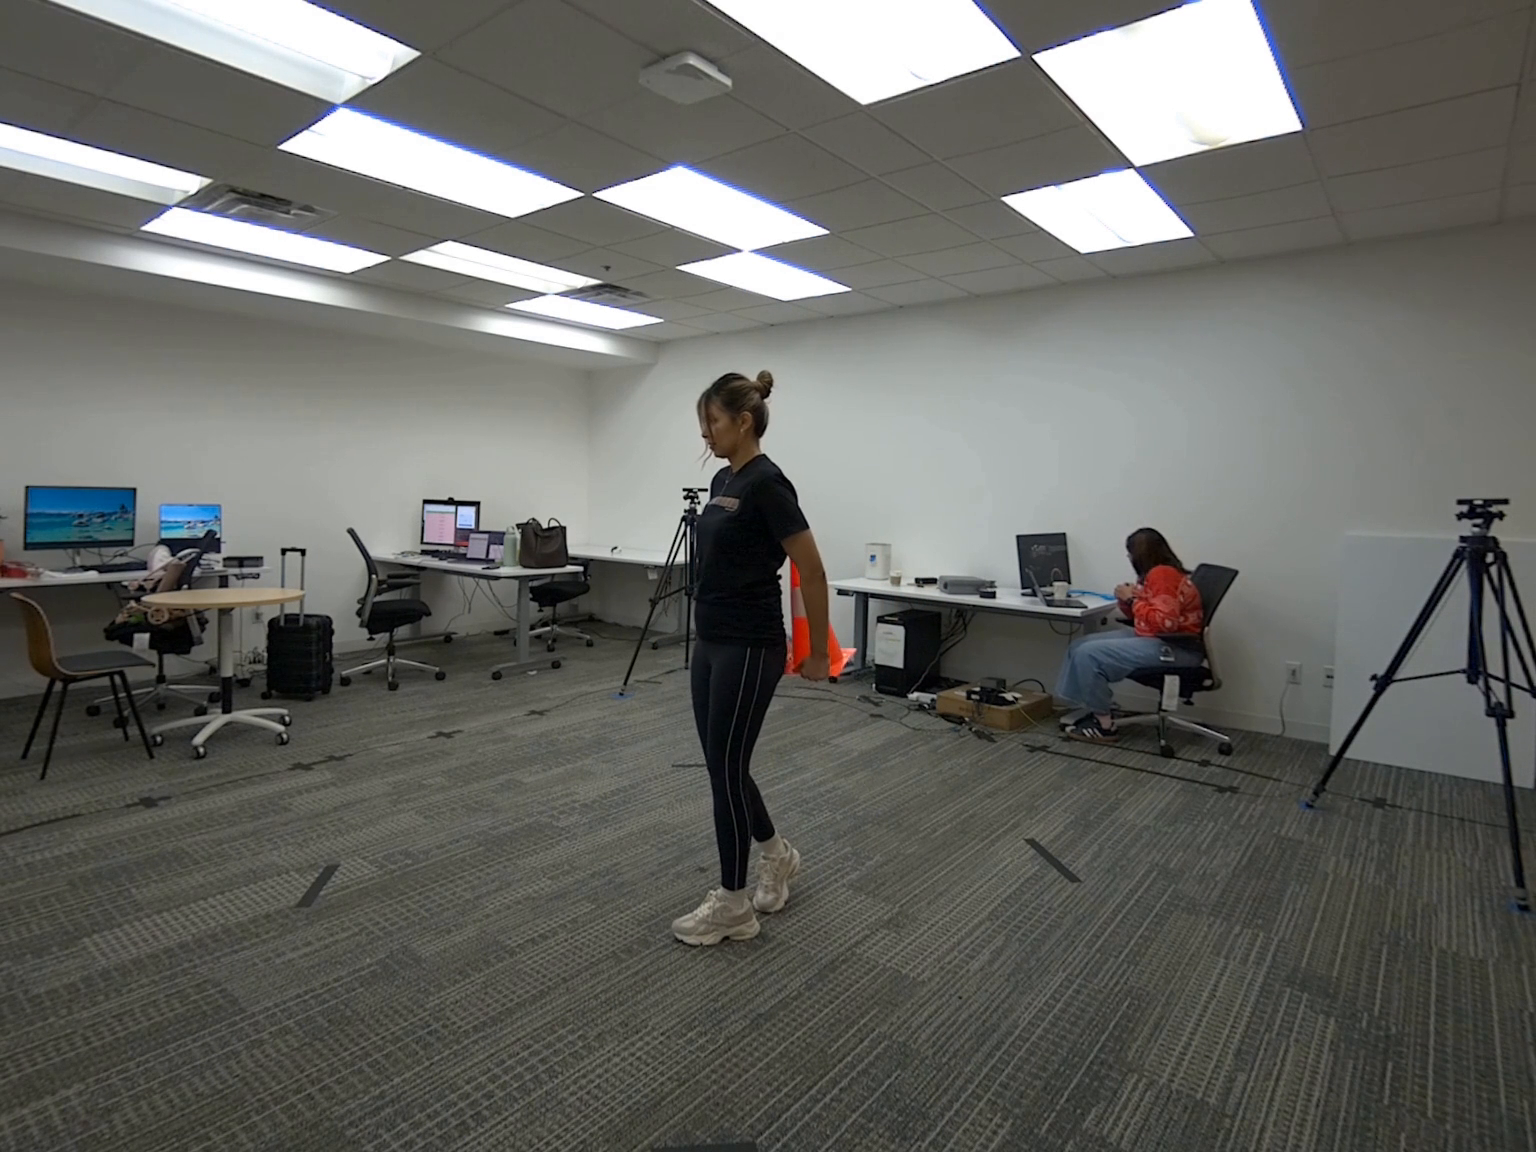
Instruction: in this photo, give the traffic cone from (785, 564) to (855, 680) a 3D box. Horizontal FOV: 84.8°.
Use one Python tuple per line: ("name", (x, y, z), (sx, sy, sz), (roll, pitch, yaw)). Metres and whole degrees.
("traffic cone", (0.114, 0.092, 2.606), (0.208, 0.379, 0.202), (-4, 12, 27))
